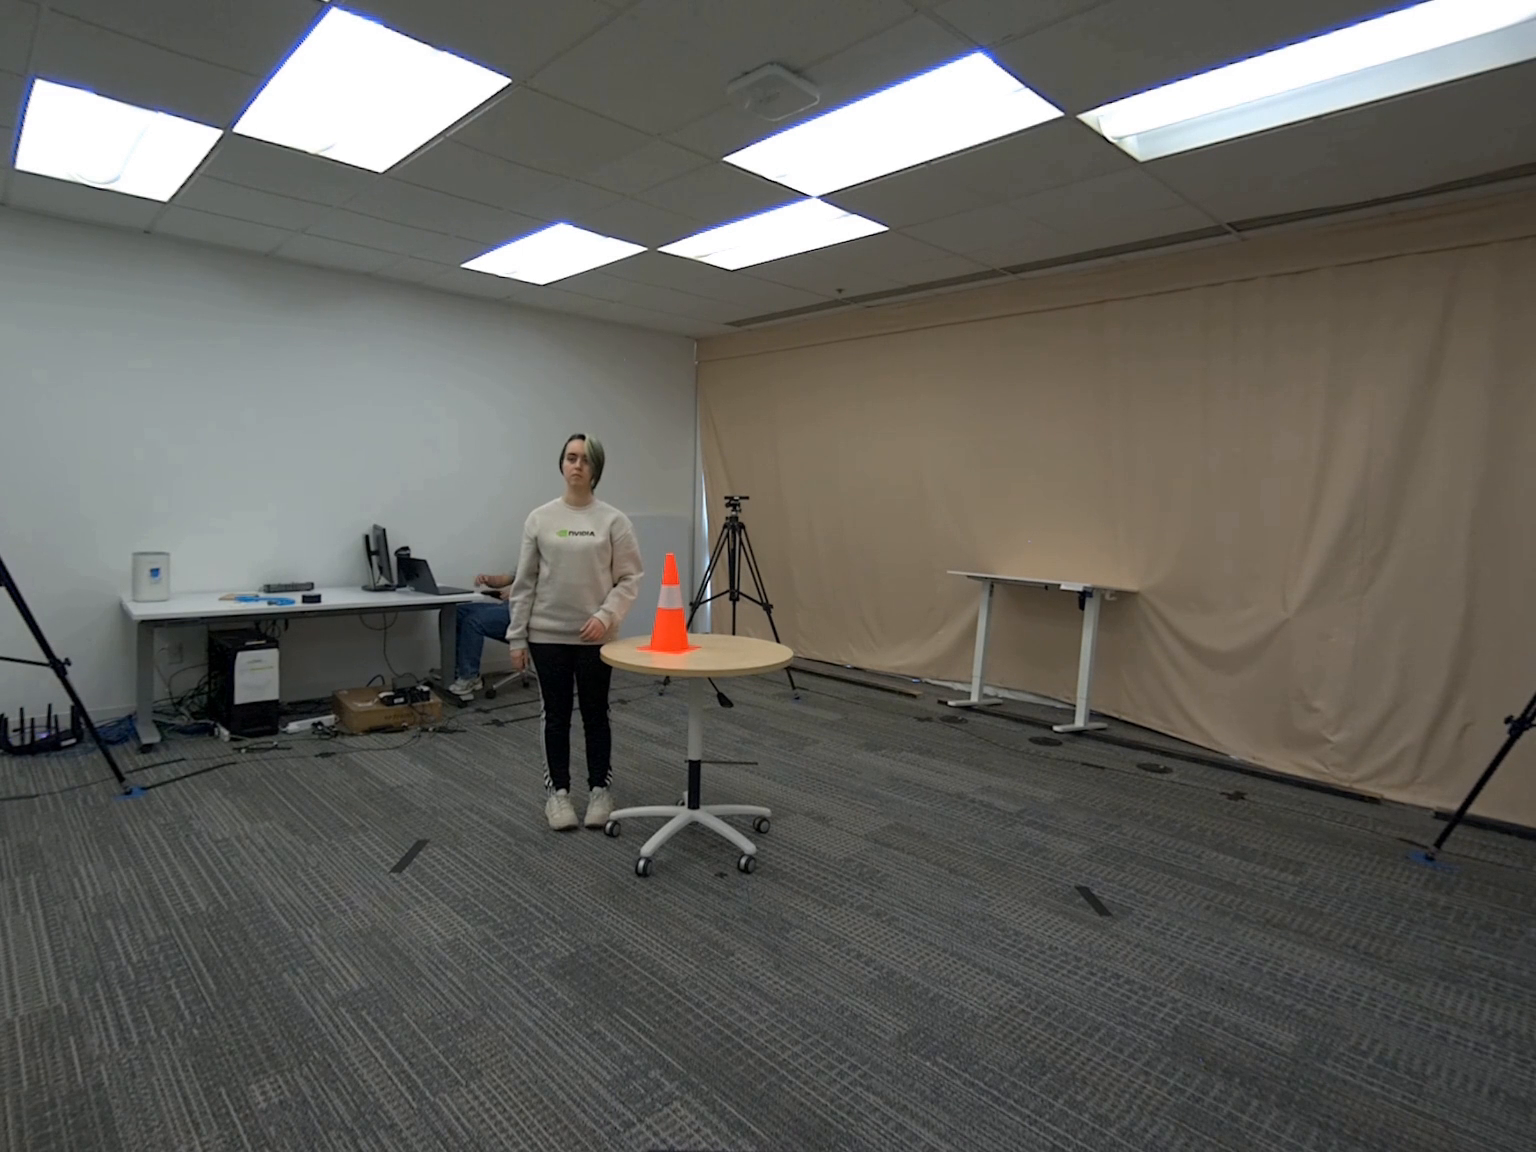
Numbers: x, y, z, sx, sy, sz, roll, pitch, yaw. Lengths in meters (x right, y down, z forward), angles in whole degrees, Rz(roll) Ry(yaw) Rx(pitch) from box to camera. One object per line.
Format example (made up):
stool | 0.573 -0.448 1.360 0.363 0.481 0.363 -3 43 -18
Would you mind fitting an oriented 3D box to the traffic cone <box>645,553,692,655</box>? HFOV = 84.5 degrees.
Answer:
traffic cone | -0.401 0.103 3.361 0.201 0.383 0.208 -2 4 -33
